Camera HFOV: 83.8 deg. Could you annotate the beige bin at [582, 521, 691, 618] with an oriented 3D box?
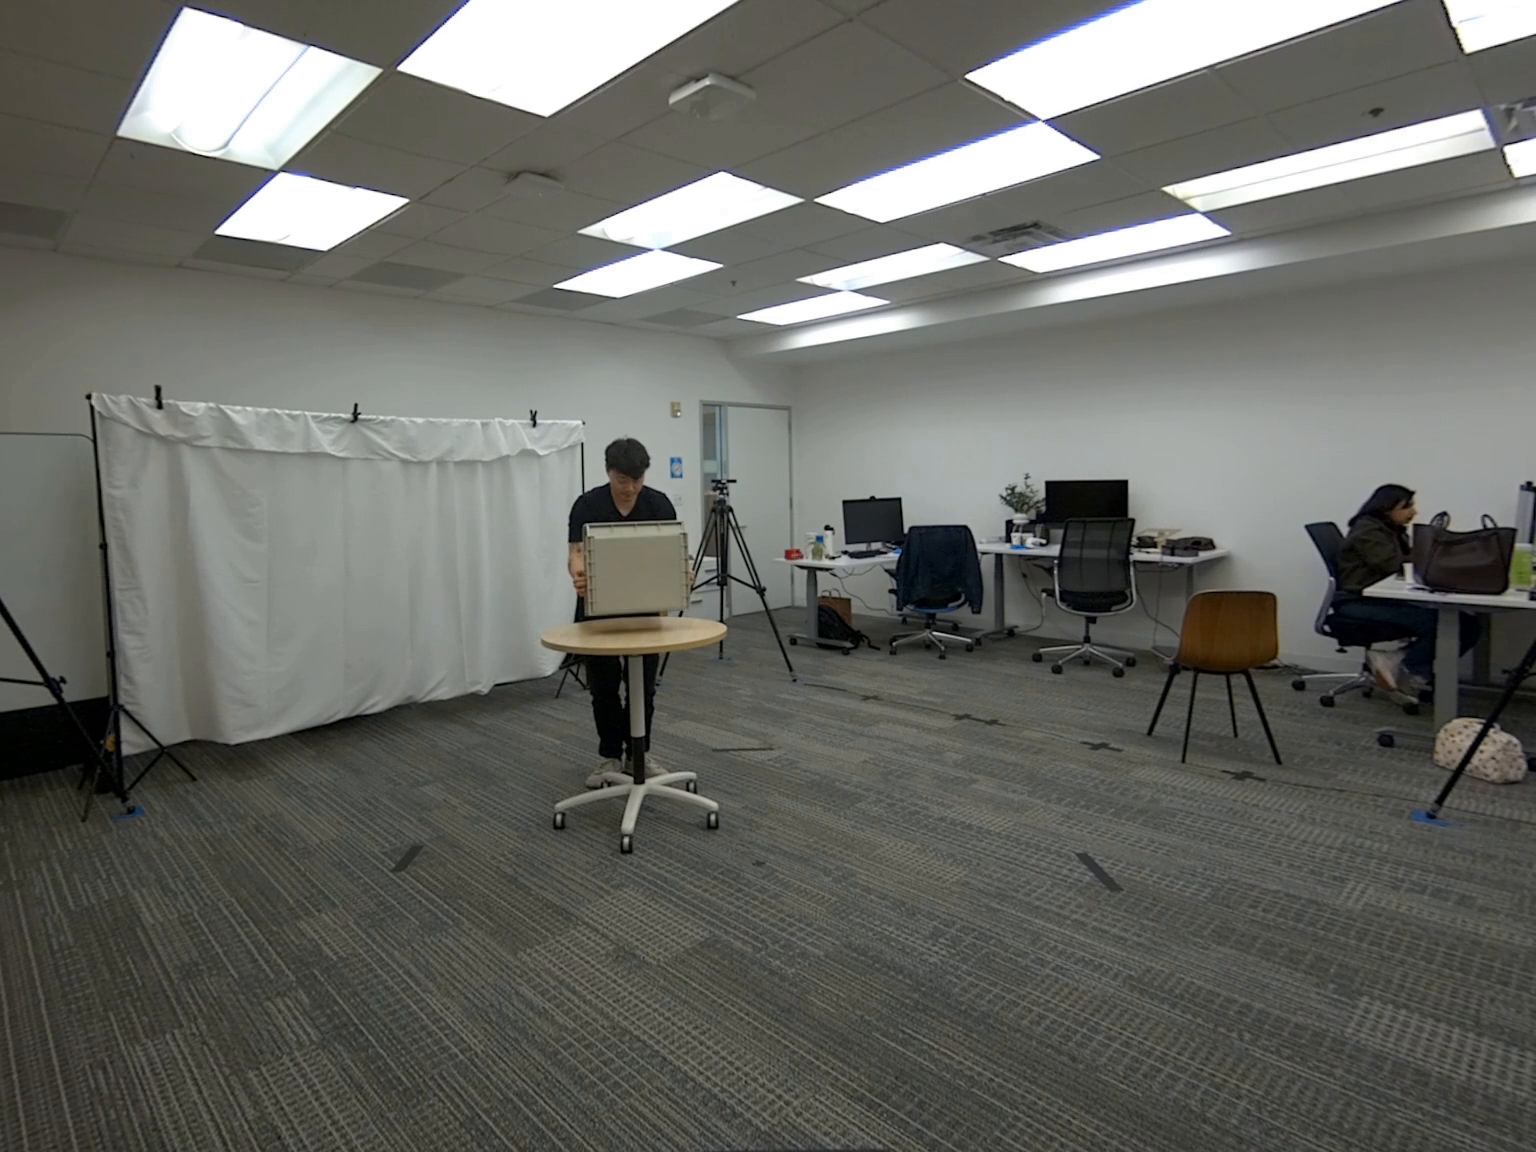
[{"bbox_3d":[-0.544,-0.033,3.528,0.417,0.378,0.191,-3,-2,-14],"label":"beige bin"}]
